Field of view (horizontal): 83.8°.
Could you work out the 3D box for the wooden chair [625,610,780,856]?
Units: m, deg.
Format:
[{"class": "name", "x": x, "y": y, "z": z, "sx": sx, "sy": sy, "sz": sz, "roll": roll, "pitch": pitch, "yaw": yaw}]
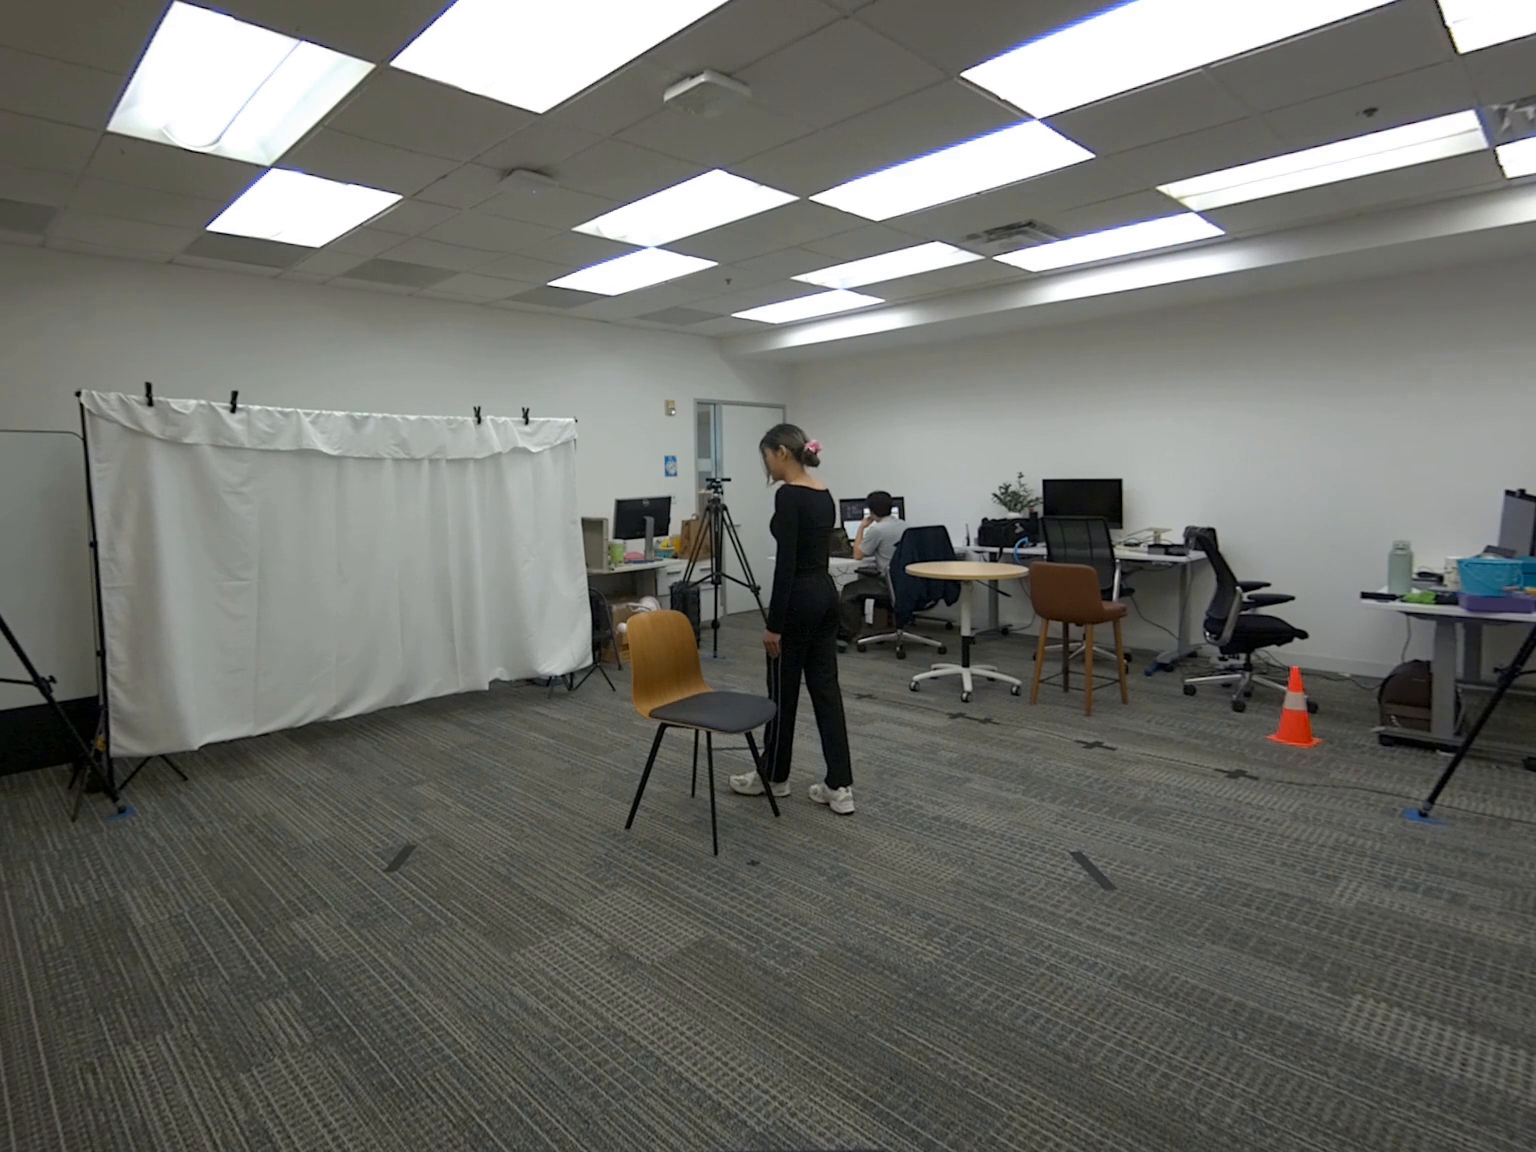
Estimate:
[{"class": "wooden chair", "x": -0.263, "y": 0.580, "z": 3.437, "sx": 0.537, "sy": 0.877, "sz": 0.466, "roll": -4, "pitch": 1, "yaw": 35}]
